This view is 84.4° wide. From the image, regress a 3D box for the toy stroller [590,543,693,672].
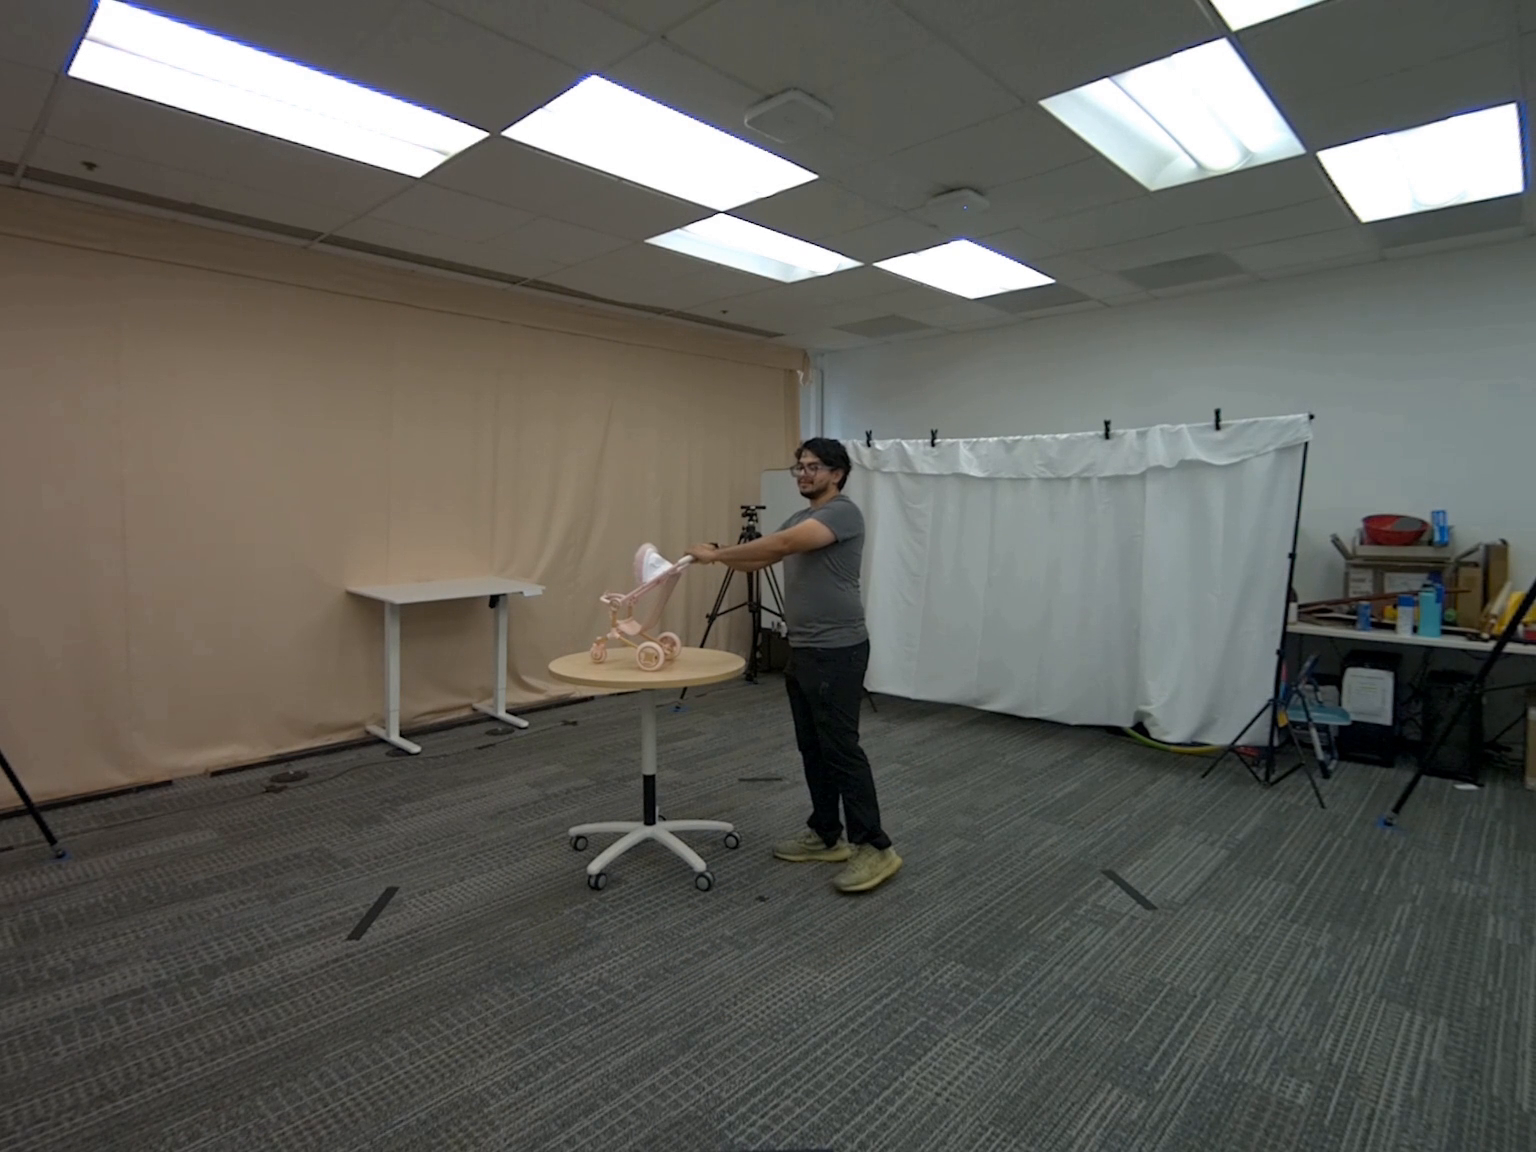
[{"bbox_3d":[-0.481,0.121,3.237,0.347,0.534,0.277,16,6,14],"label":"toy stroller"}]
